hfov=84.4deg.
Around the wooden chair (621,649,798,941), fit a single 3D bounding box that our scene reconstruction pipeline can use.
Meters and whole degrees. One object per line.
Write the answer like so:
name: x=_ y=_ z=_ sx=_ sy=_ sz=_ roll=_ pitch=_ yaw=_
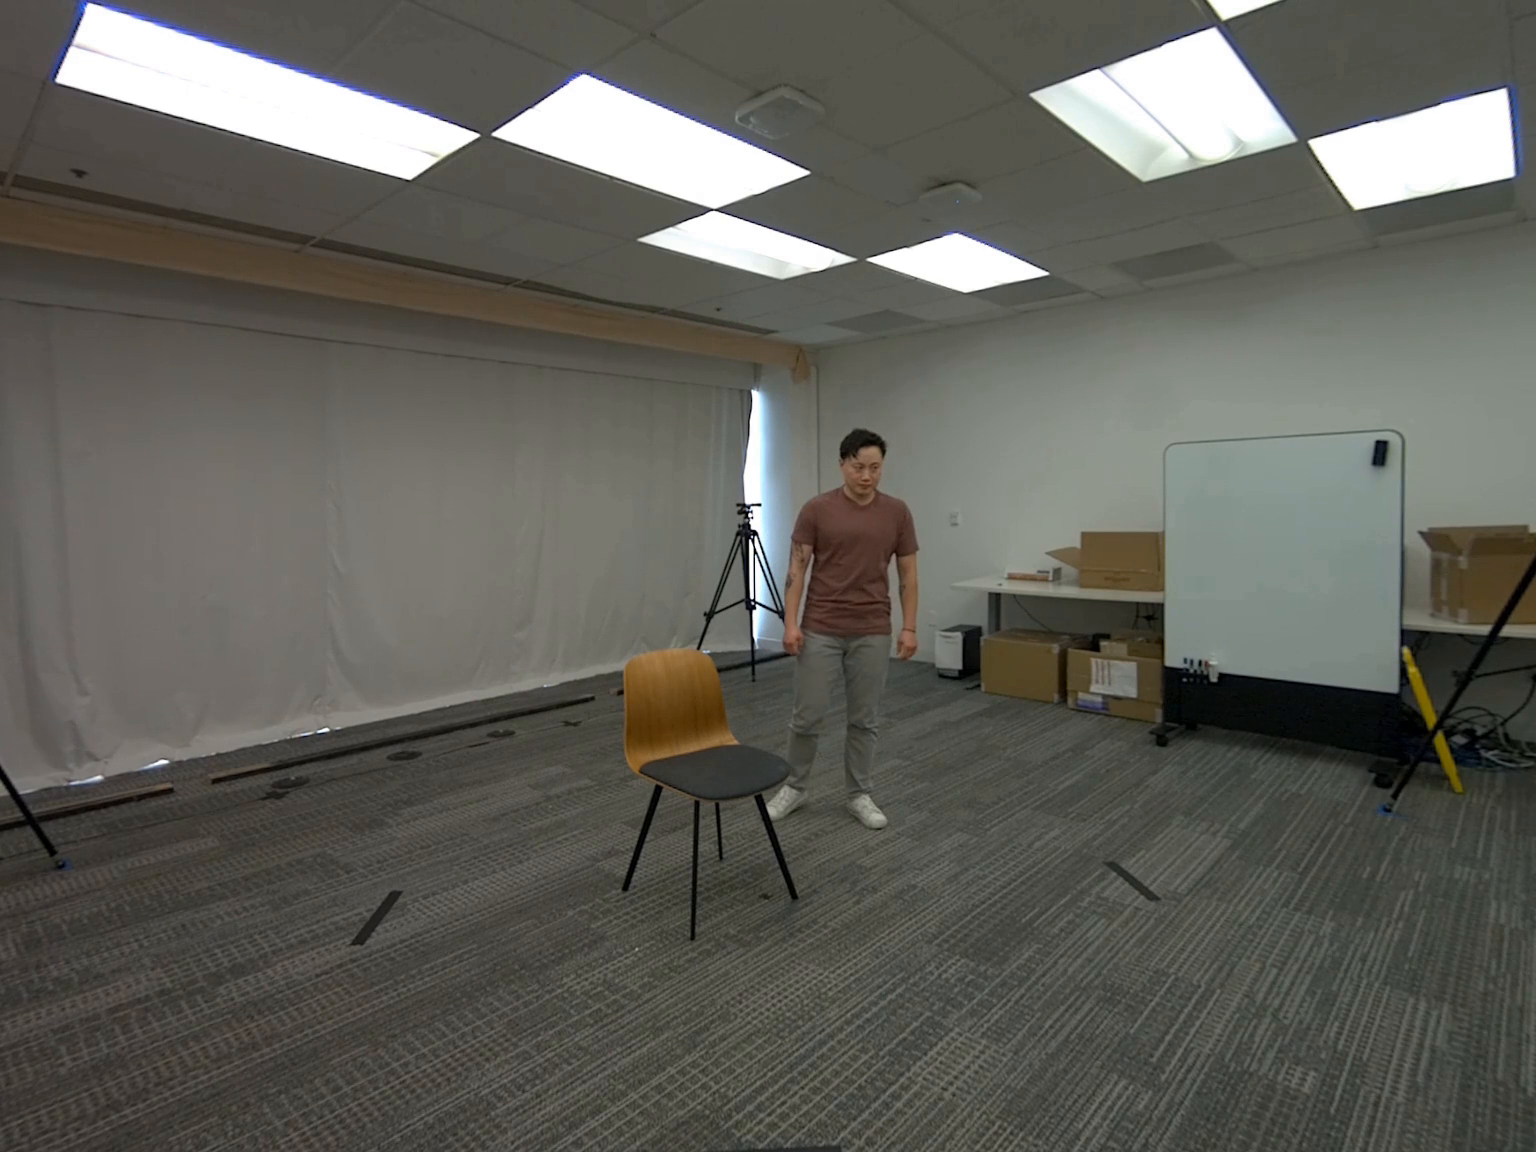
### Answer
wooden chair: x=-0.215 y=0.715 z=2.963 sx=0.464 sy=0.877 sz=0.539 roll=-4 pitch=0 yaw=-38
